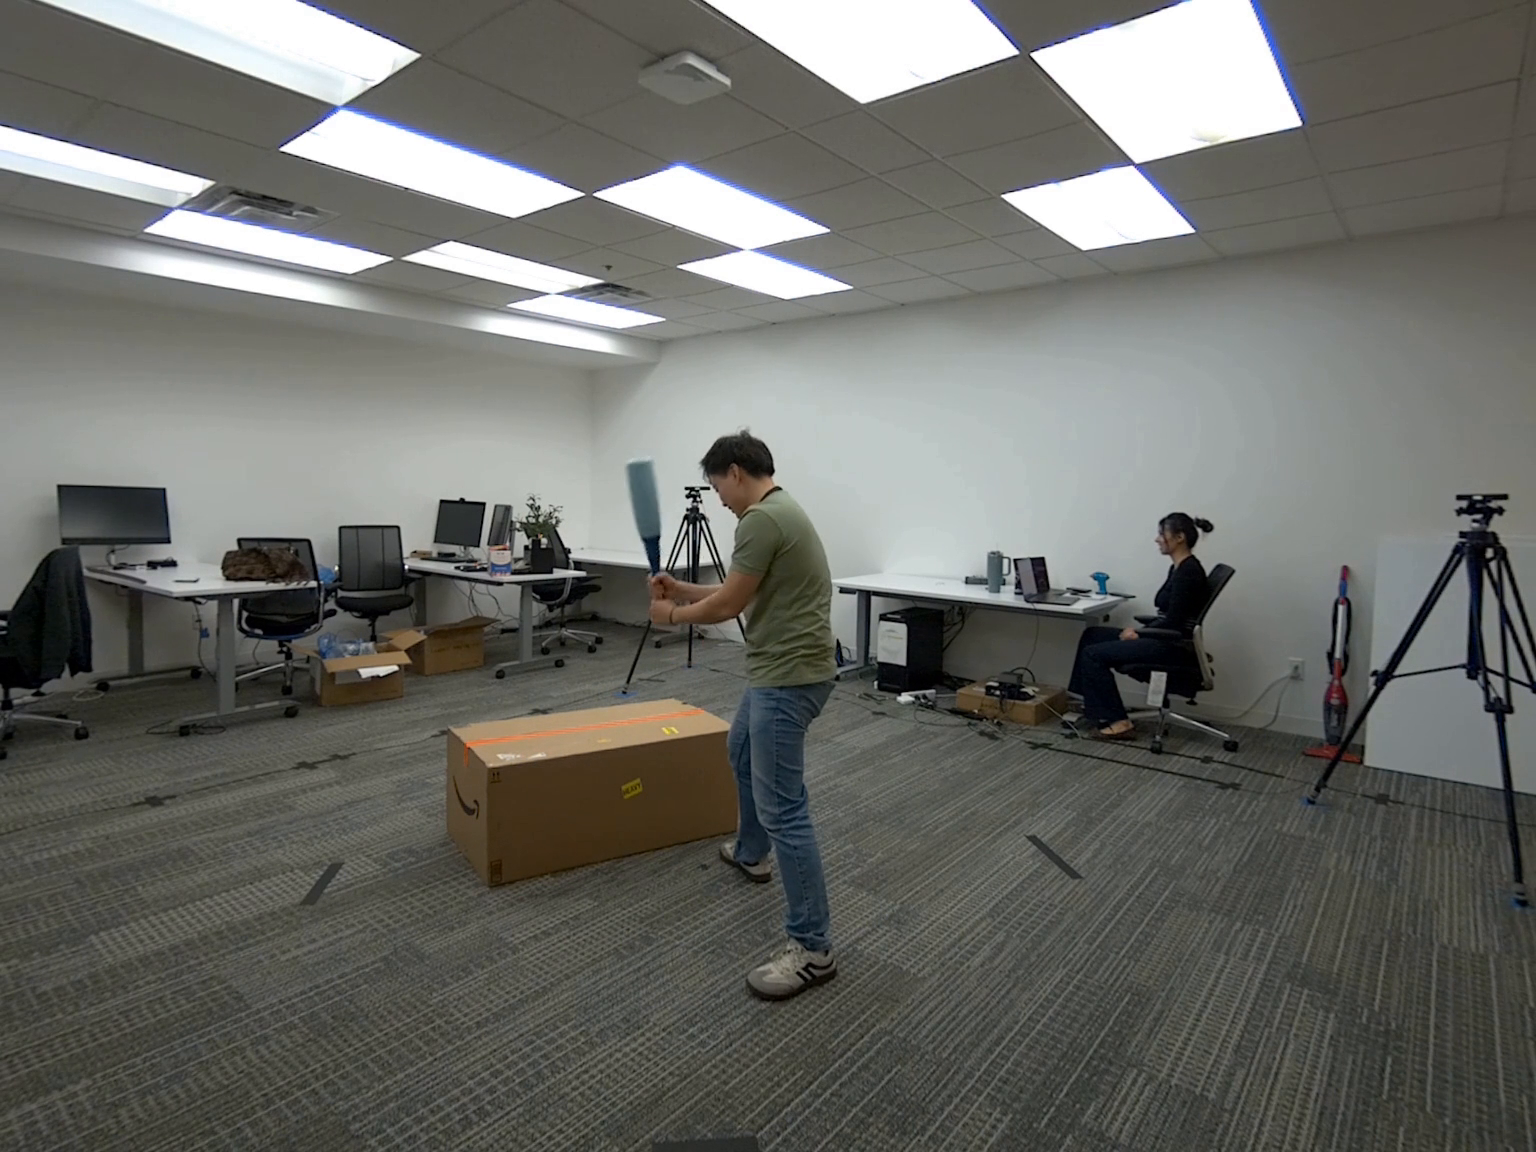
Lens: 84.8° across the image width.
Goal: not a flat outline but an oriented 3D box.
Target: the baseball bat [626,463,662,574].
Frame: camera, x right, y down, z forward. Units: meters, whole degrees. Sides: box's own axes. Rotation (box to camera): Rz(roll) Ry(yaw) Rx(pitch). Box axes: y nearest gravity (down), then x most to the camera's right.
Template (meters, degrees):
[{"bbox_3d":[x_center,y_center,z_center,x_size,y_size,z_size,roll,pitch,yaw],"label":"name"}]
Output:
[{"bbox_3d":[-0.356,-0.068,2.781,0.089,0.537,0.090,-7,9,0],"label":"baseball bat"}]
